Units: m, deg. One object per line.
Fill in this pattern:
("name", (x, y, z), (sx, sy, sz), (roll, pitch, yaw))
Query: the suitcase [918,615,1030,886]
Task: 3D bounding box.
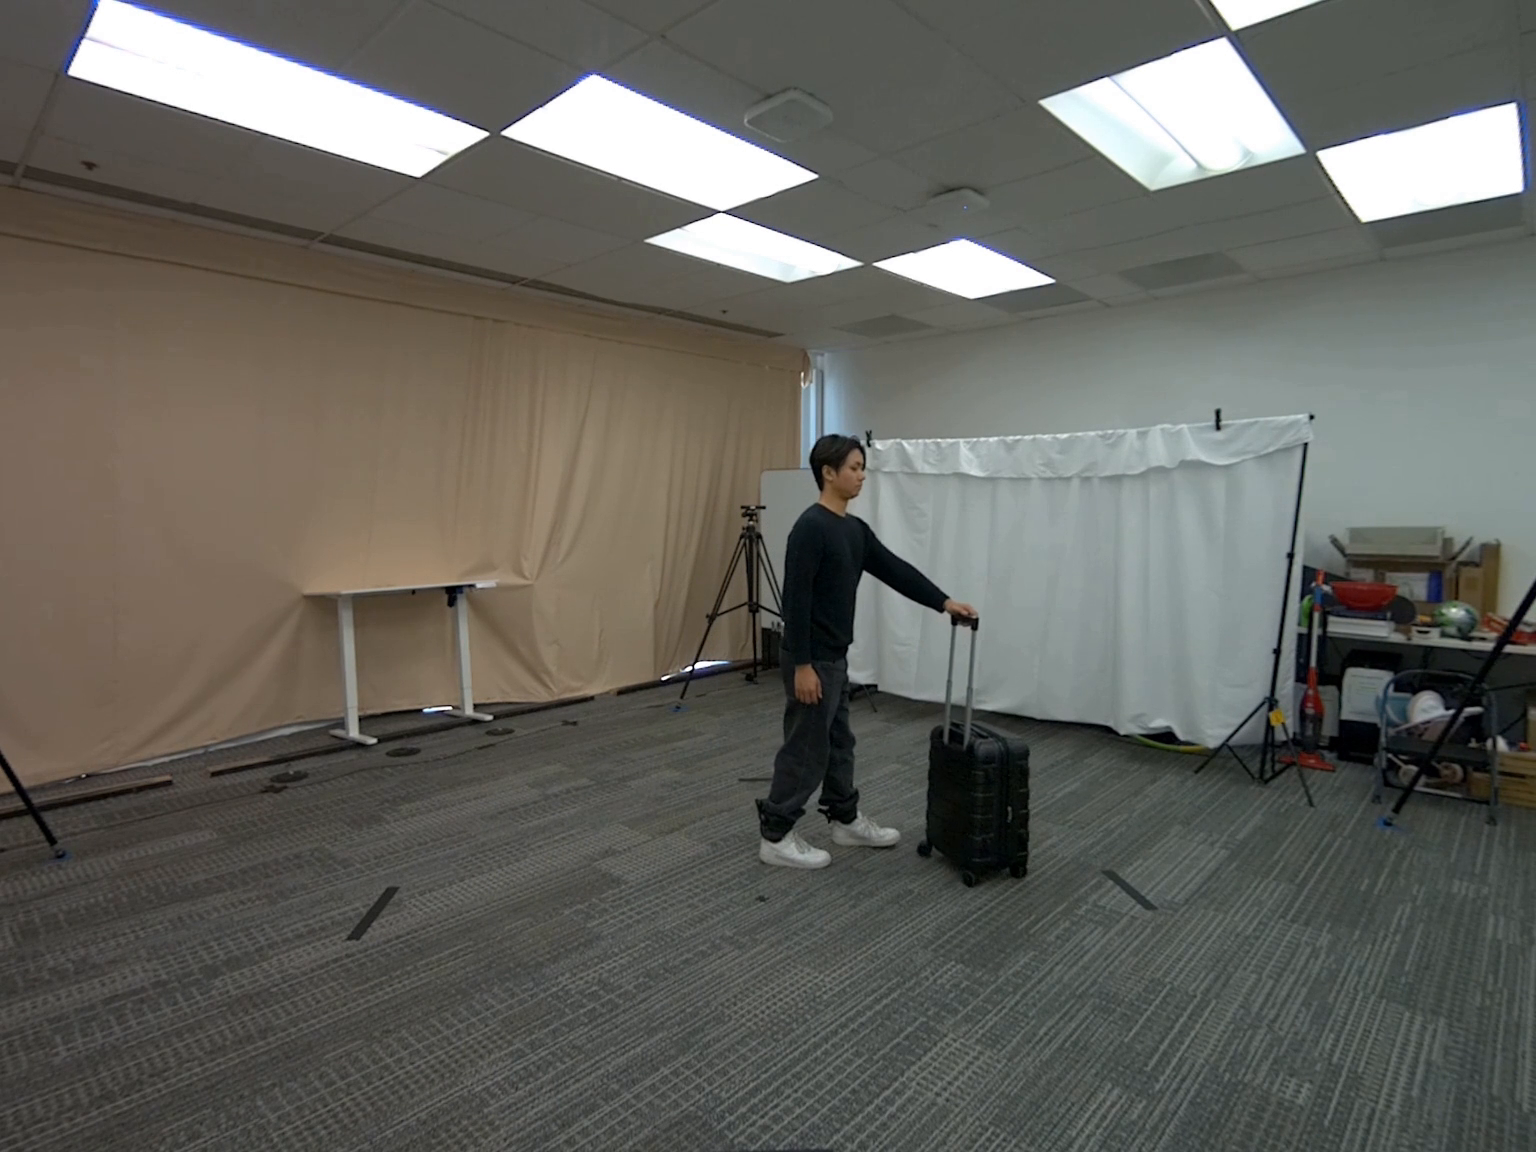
("suitcase", (0.821, 0.649, 3.226), (0.252, 0.977, 0.392), (4, 2, -19))
